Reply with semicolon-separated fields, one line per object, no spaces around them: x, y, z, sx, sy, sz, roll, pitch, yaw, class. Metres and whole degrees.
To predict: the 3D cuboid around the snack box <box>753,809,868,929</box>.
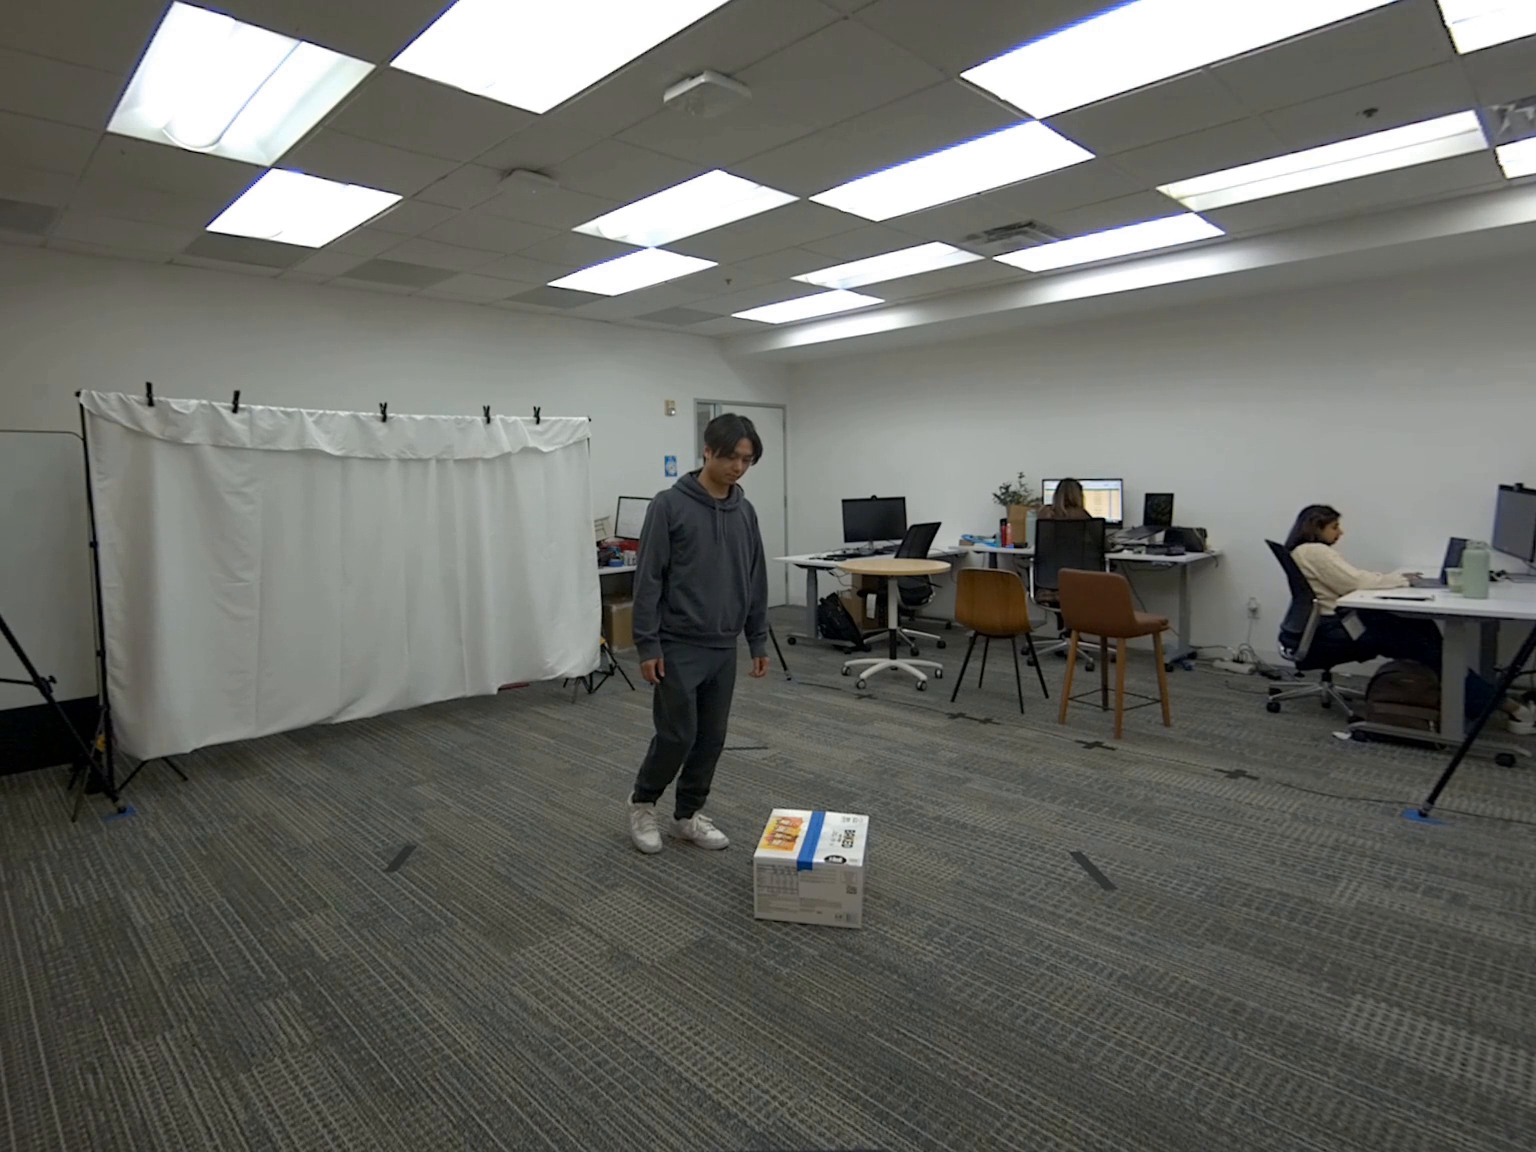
0.160;0.966;2.856;0.344;0.205;0.402;0;6;11;snack box
